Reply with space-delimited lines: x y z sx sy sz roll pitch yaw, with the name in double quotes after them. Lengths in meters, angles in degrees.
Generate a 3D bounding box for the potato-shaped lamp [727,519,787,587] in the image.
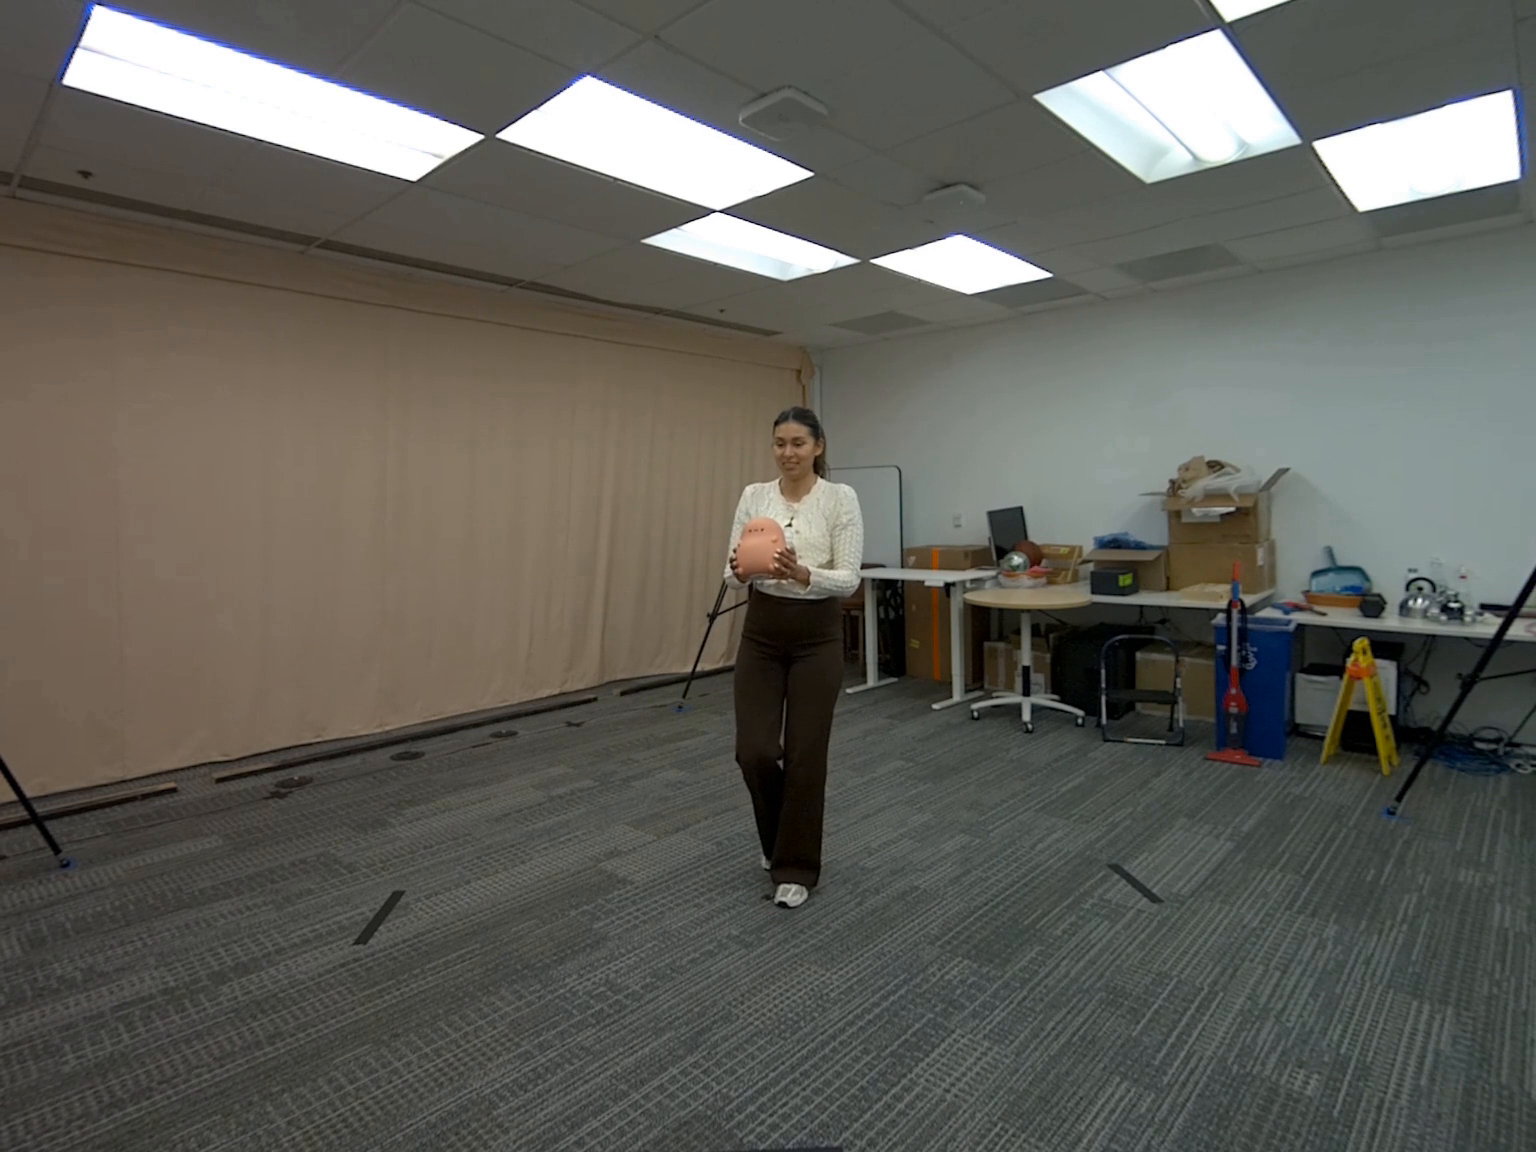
-0.007 -0.088 2.637 0.161 0.200 0.173 -5 -11 -22 "potato-shaped lamp"
